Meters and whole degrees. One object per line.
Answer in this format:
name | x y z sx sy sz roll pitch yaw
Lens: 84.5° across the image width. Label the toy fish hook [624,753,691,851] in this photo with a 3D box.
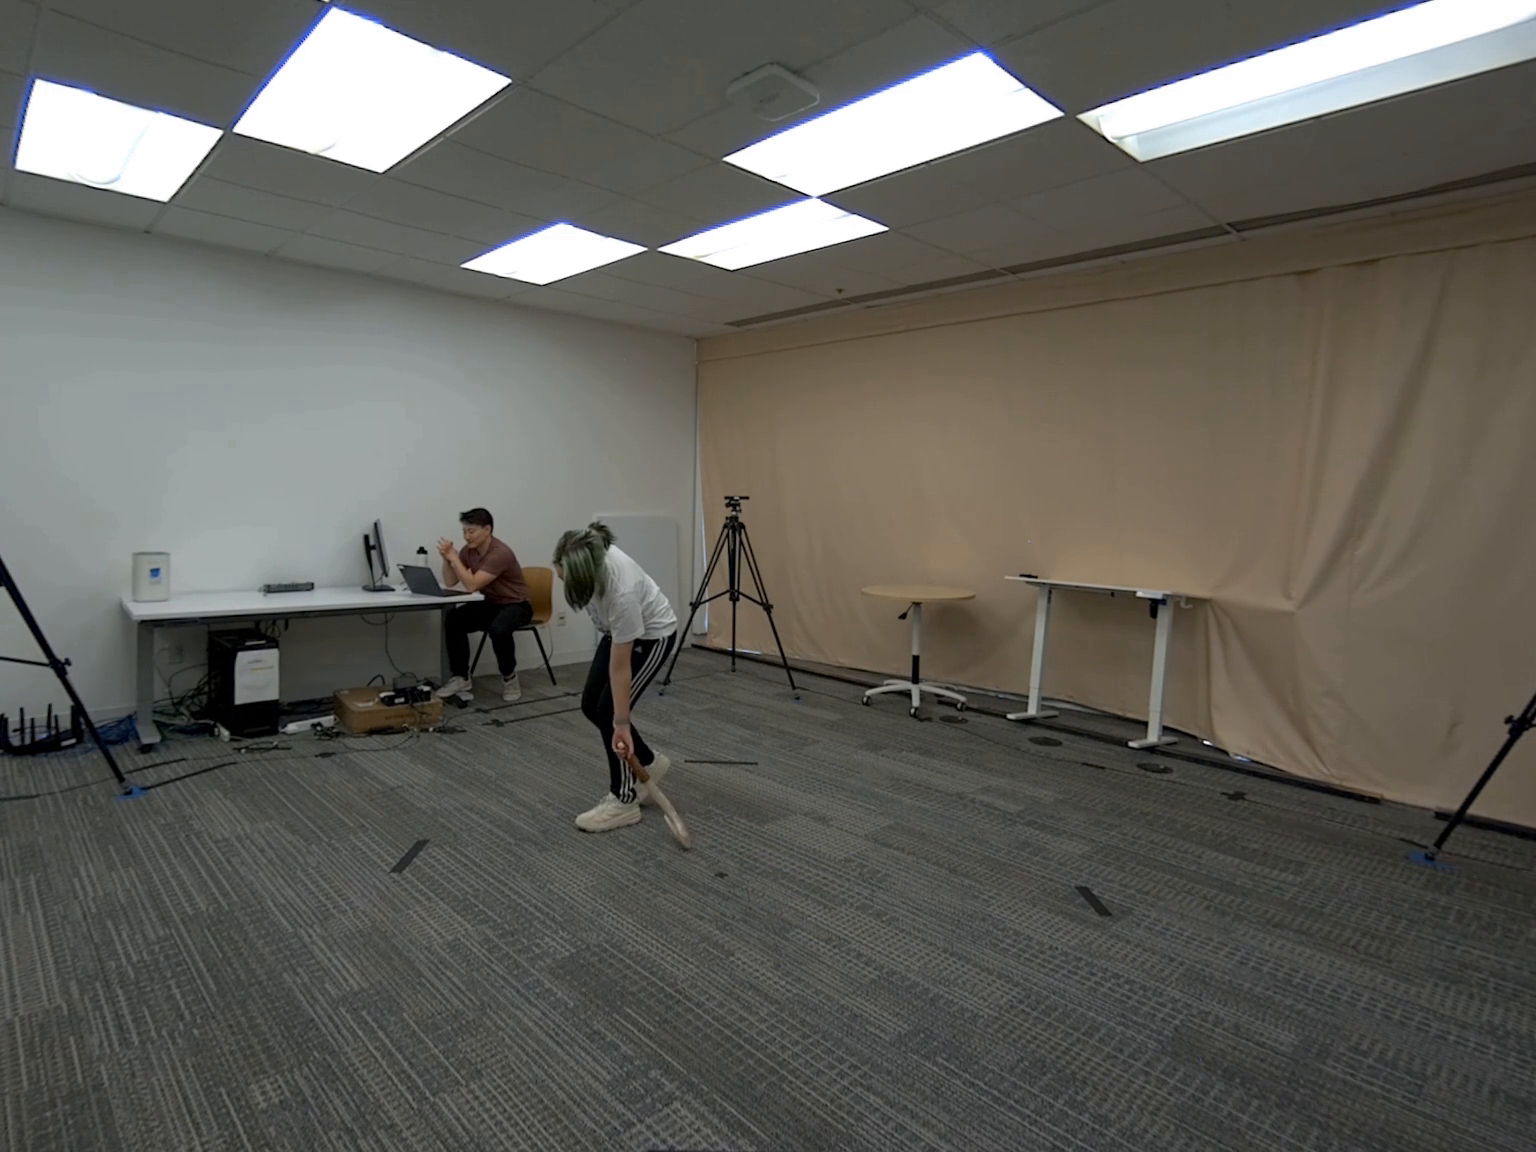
toy fish hook | -0.450 0.865 3.315 0.048 0.500 0.228 -35 12 -9
